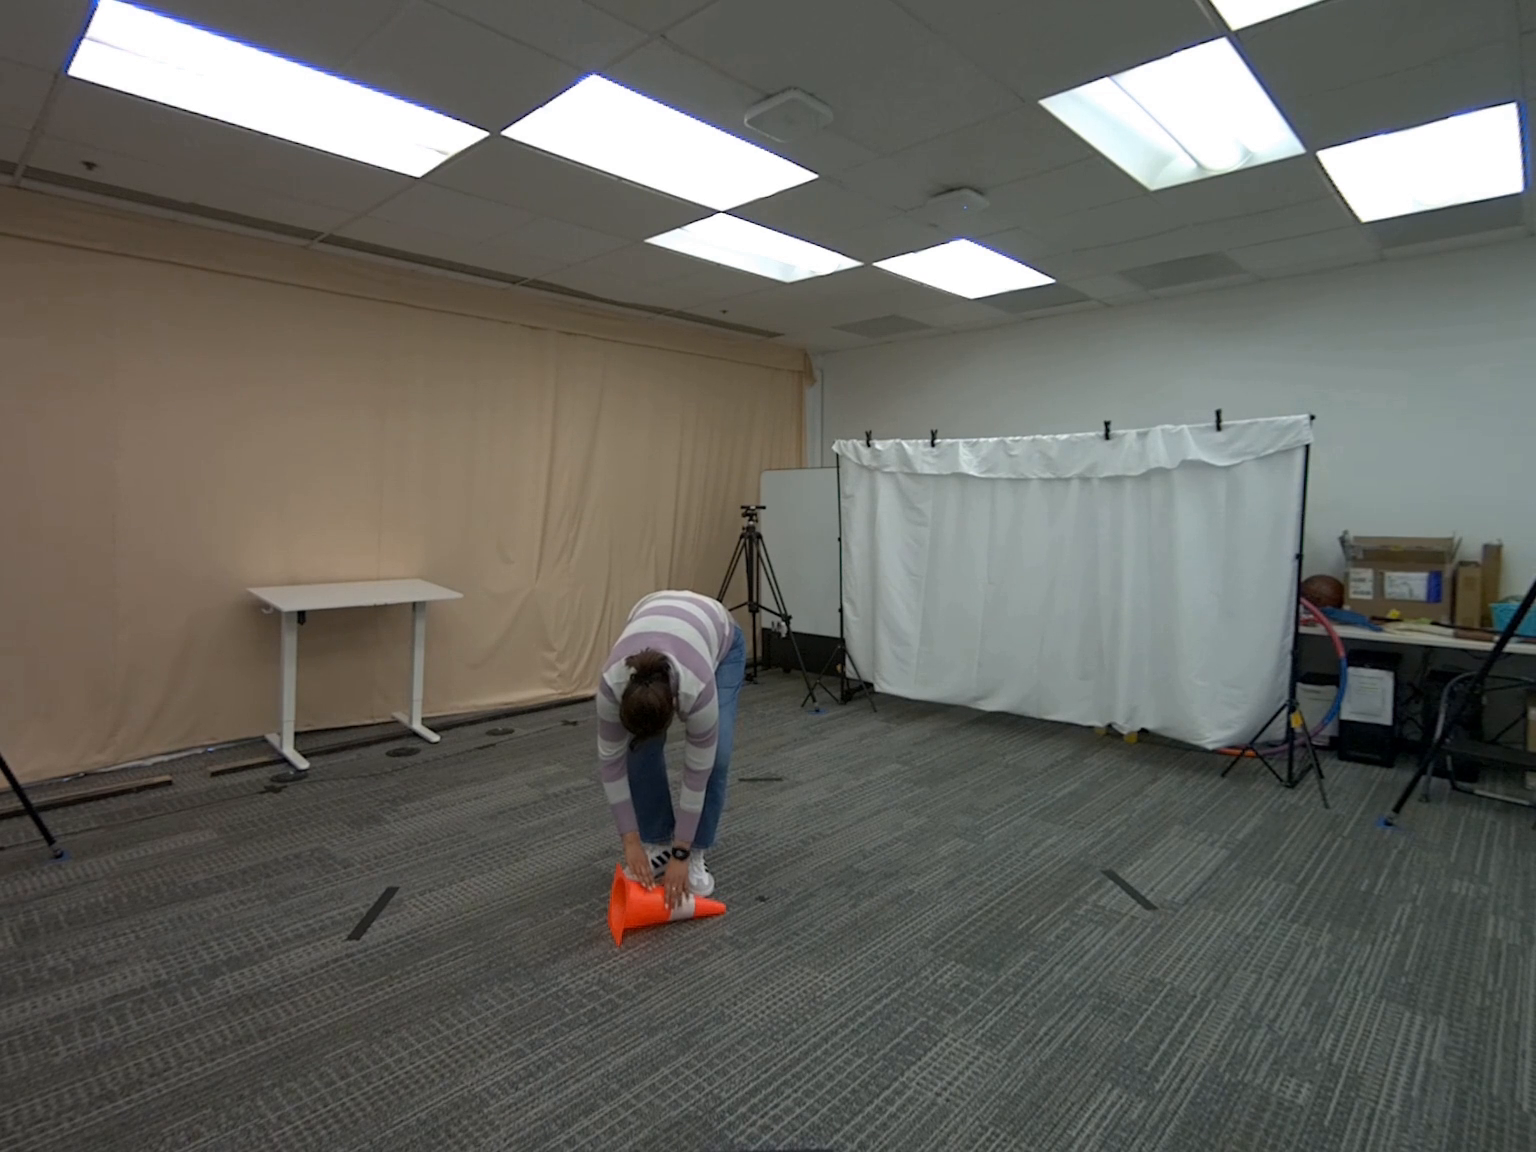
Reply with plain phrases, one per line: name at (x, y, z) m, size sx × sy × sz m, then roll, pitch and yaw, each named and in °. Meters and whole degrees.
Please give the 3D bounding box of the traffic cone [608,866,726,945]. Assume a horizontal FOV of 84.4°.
traffic cone at (-0.321, 1.104, 2.815) m, size 0.375 × 0.205 × 0.208 m, roll 12°, pitch -2°, yaw -20°
